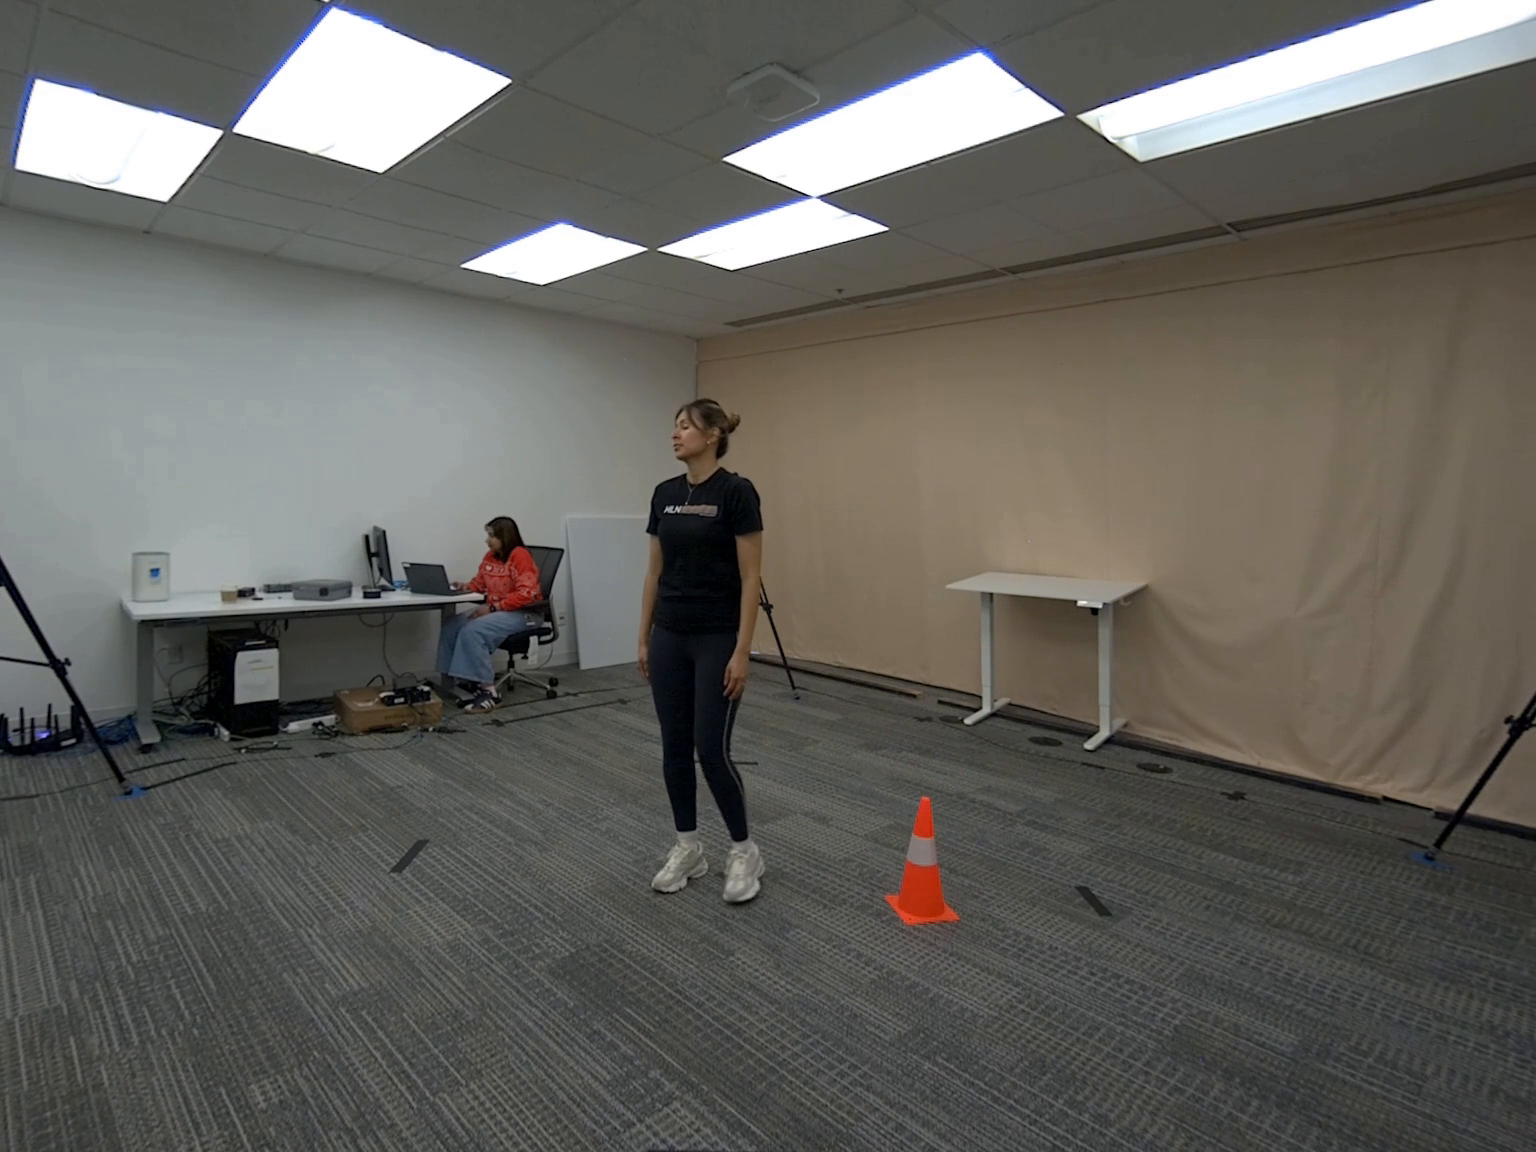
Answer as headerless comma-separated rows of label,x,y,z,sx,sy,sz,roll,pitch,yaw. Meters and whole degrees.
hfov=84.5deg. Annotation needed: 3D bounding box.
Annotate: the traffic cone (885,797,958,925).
traffic cone,0.535,0.958,2.881,0.202,0.383,0.206,2,4,-16
